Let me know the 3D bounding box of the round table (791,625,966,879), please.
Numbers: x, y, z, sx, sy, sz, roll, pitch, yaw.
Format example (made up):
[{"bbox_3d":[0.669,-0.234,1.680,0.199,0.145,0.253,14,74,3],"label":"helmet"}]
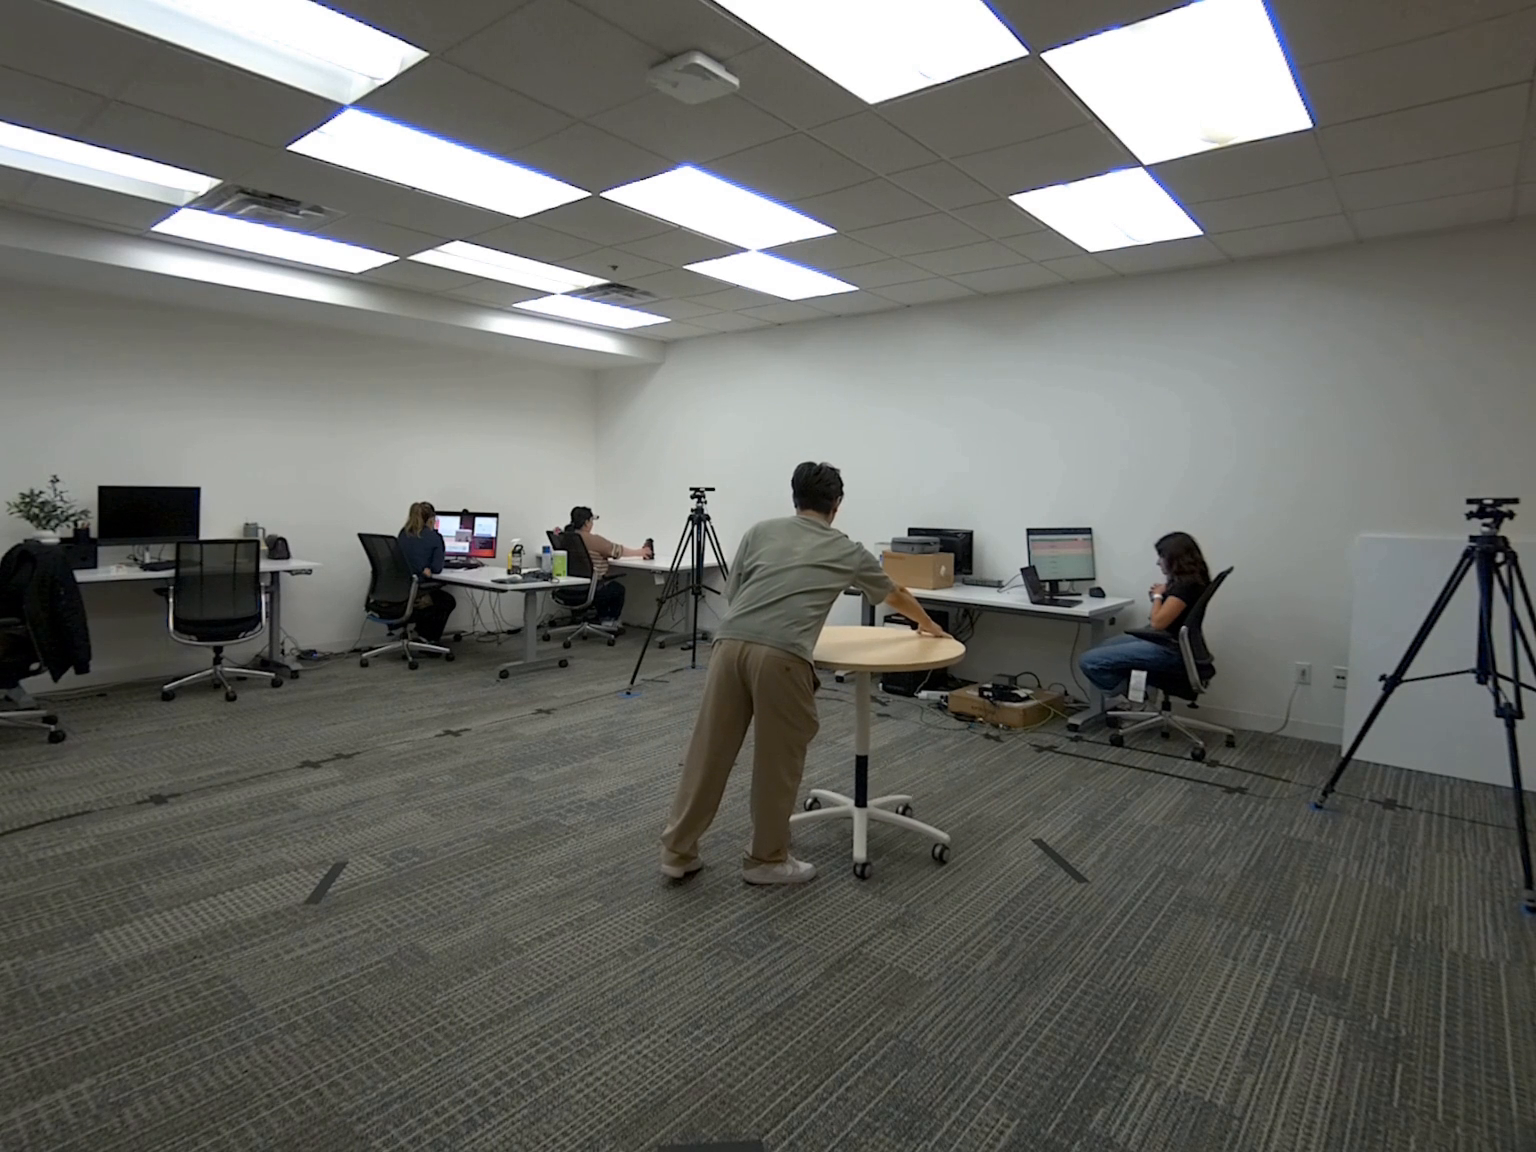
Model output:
[{"bbox_3d":[0.377,0.652,3.349,0.784,0.783,0.789,0,5,-2],"label":"round table"}]
